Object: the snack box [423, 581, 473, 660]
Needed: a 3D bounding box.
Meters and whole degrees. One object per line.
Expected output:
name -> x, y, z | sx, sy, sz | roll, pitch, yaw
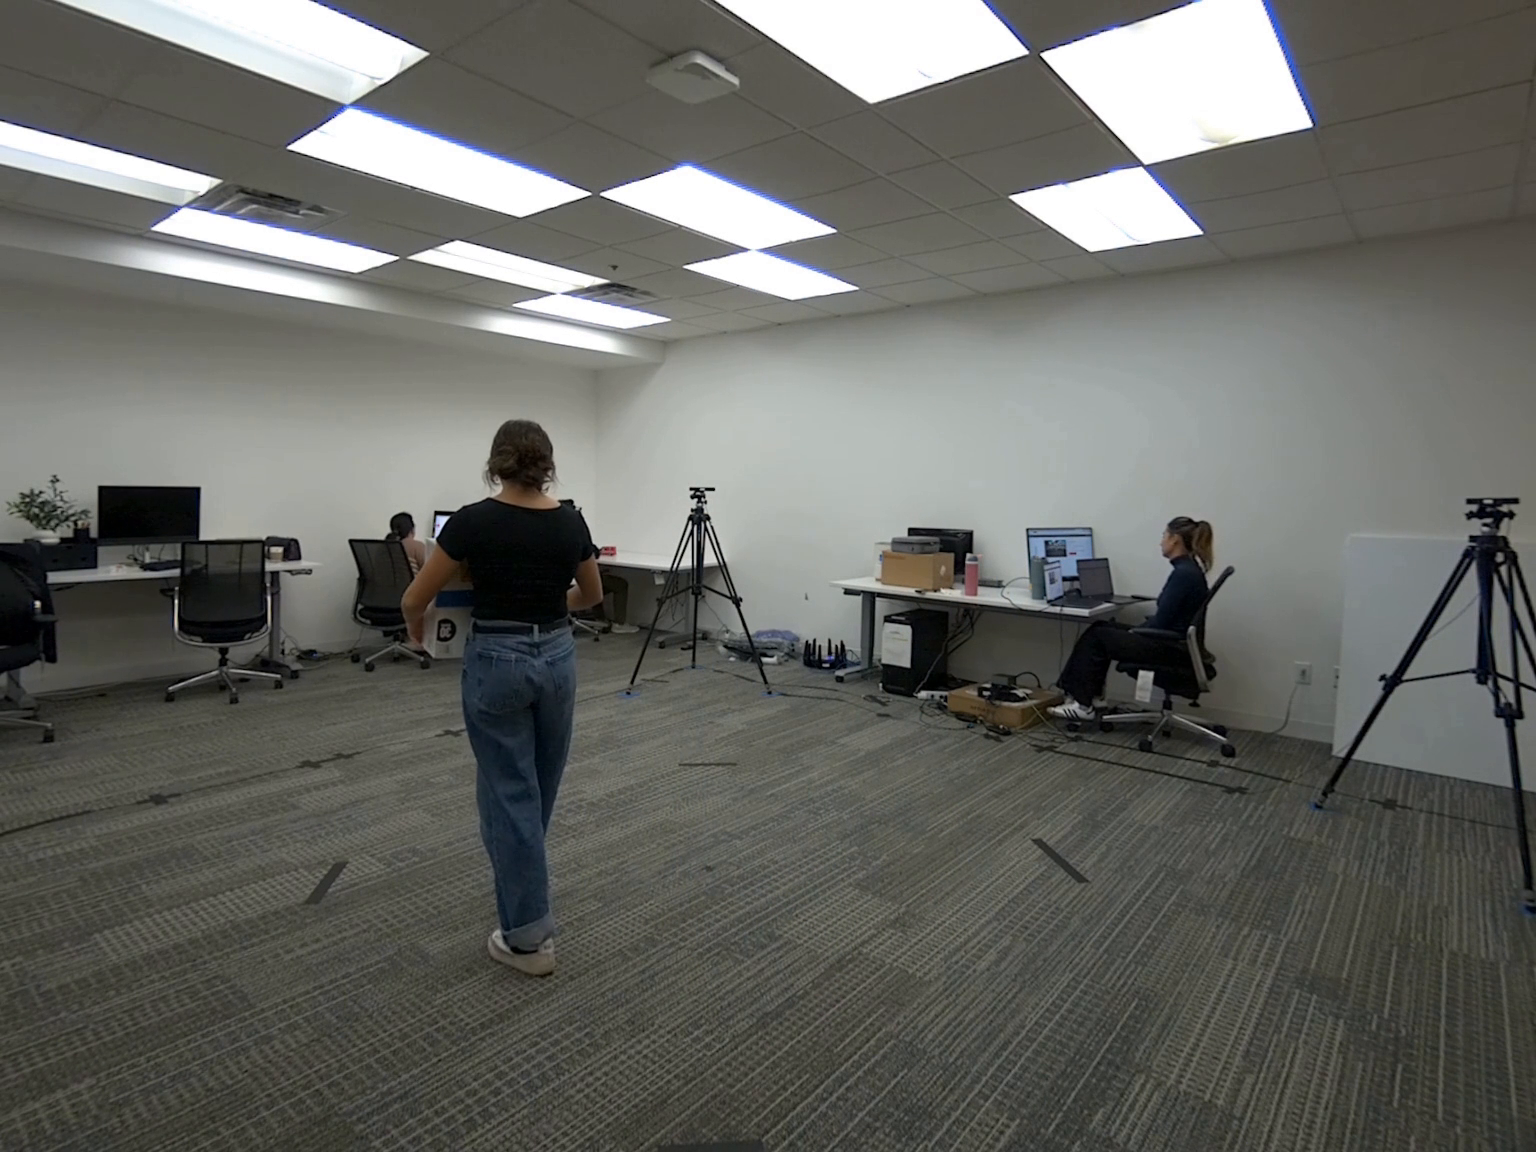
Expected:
snack box -> -0.861, 0.056, 2.676 | 0.394, 0.339, 0.212 | 1, 6, -31
